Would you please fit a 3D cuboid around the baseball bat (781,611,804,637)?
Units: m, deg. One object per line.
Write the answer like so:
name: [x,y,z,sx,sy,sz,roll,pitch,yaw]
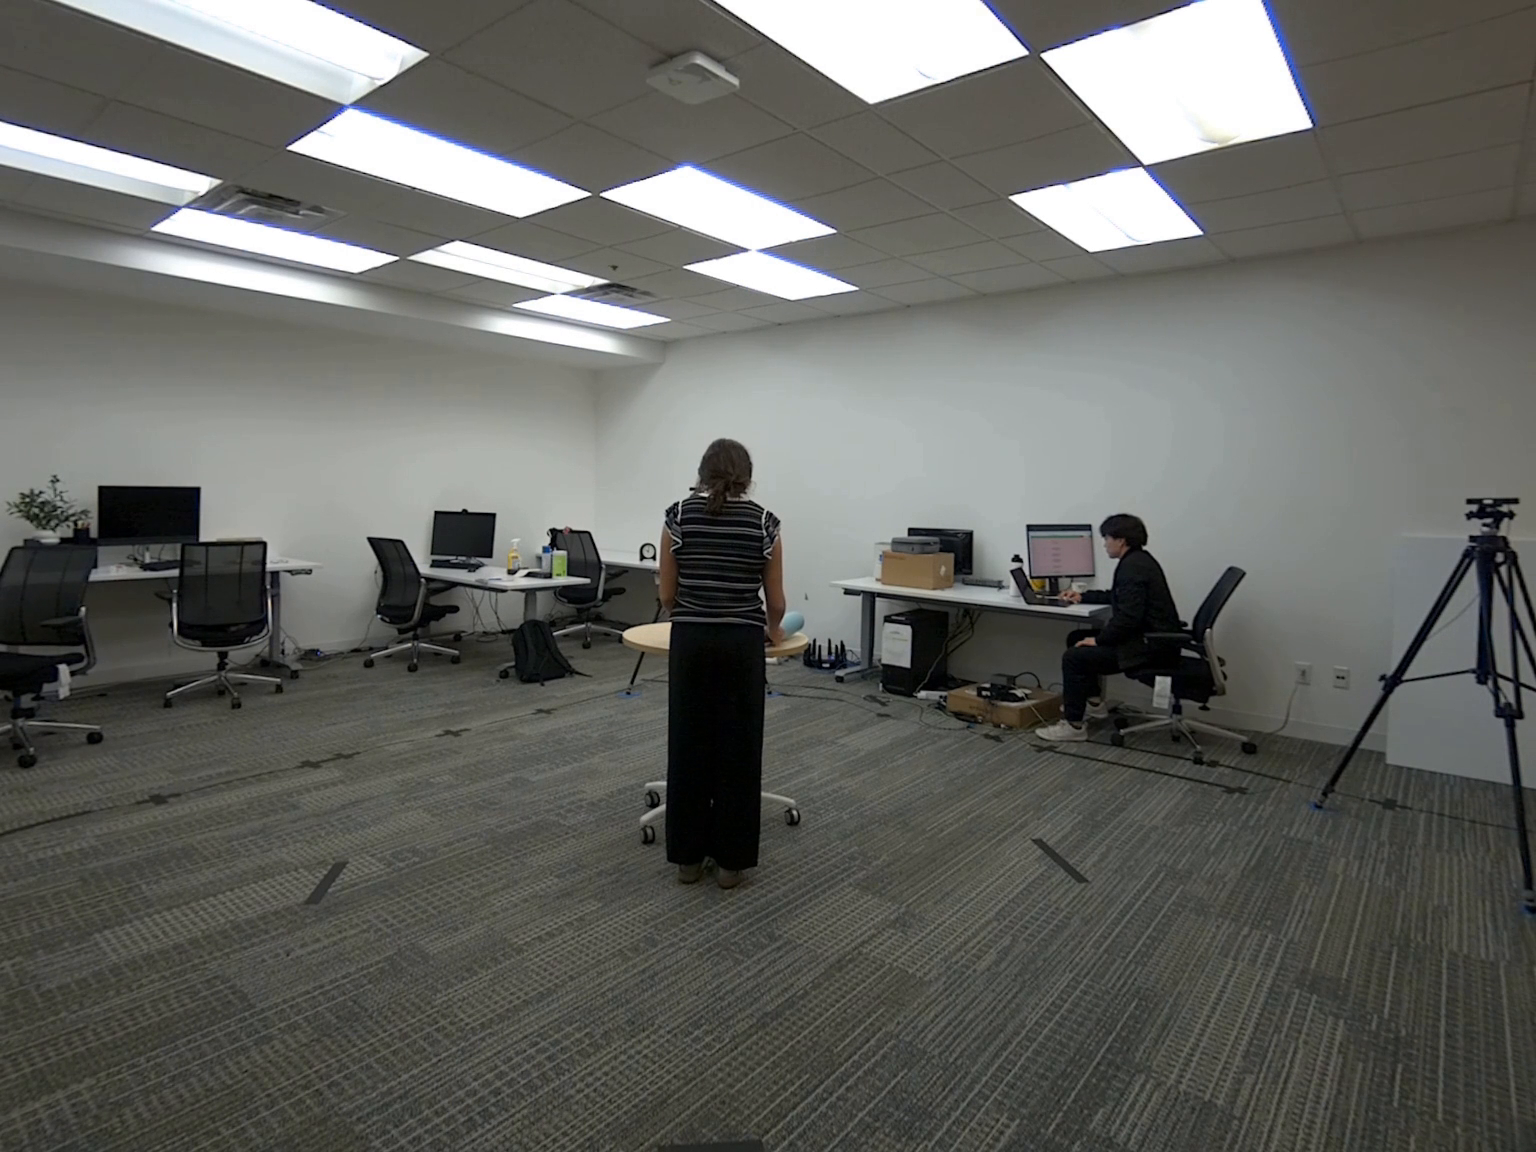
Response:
baseball bat: [-0.026,0.226,3.347,0.091,0.088,0.534,3,11,23]
